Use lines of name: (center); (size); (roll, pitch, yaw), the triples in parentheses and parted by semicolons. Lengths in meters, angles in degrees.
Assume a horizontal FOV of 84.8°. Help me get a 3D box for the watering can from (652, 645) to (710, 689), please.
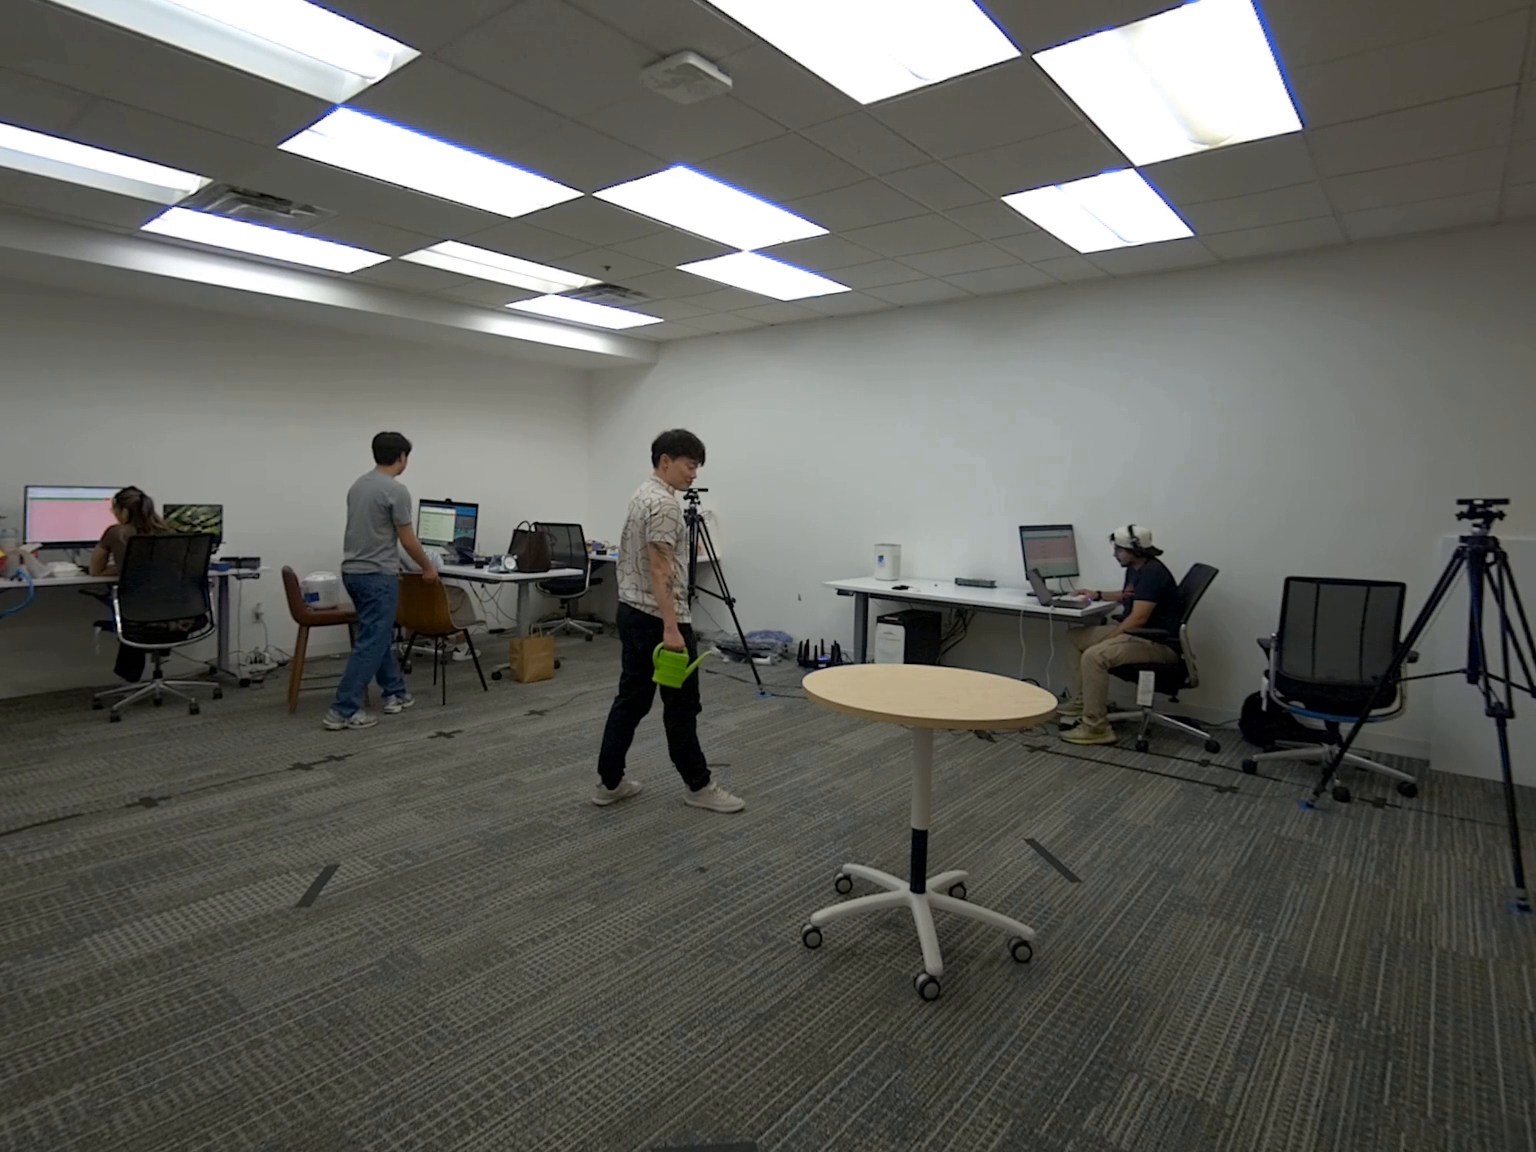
watering can: (-0.353, 0.360, 3.490); (0.271, 0.177, 0.100); (15, -3, -21)
